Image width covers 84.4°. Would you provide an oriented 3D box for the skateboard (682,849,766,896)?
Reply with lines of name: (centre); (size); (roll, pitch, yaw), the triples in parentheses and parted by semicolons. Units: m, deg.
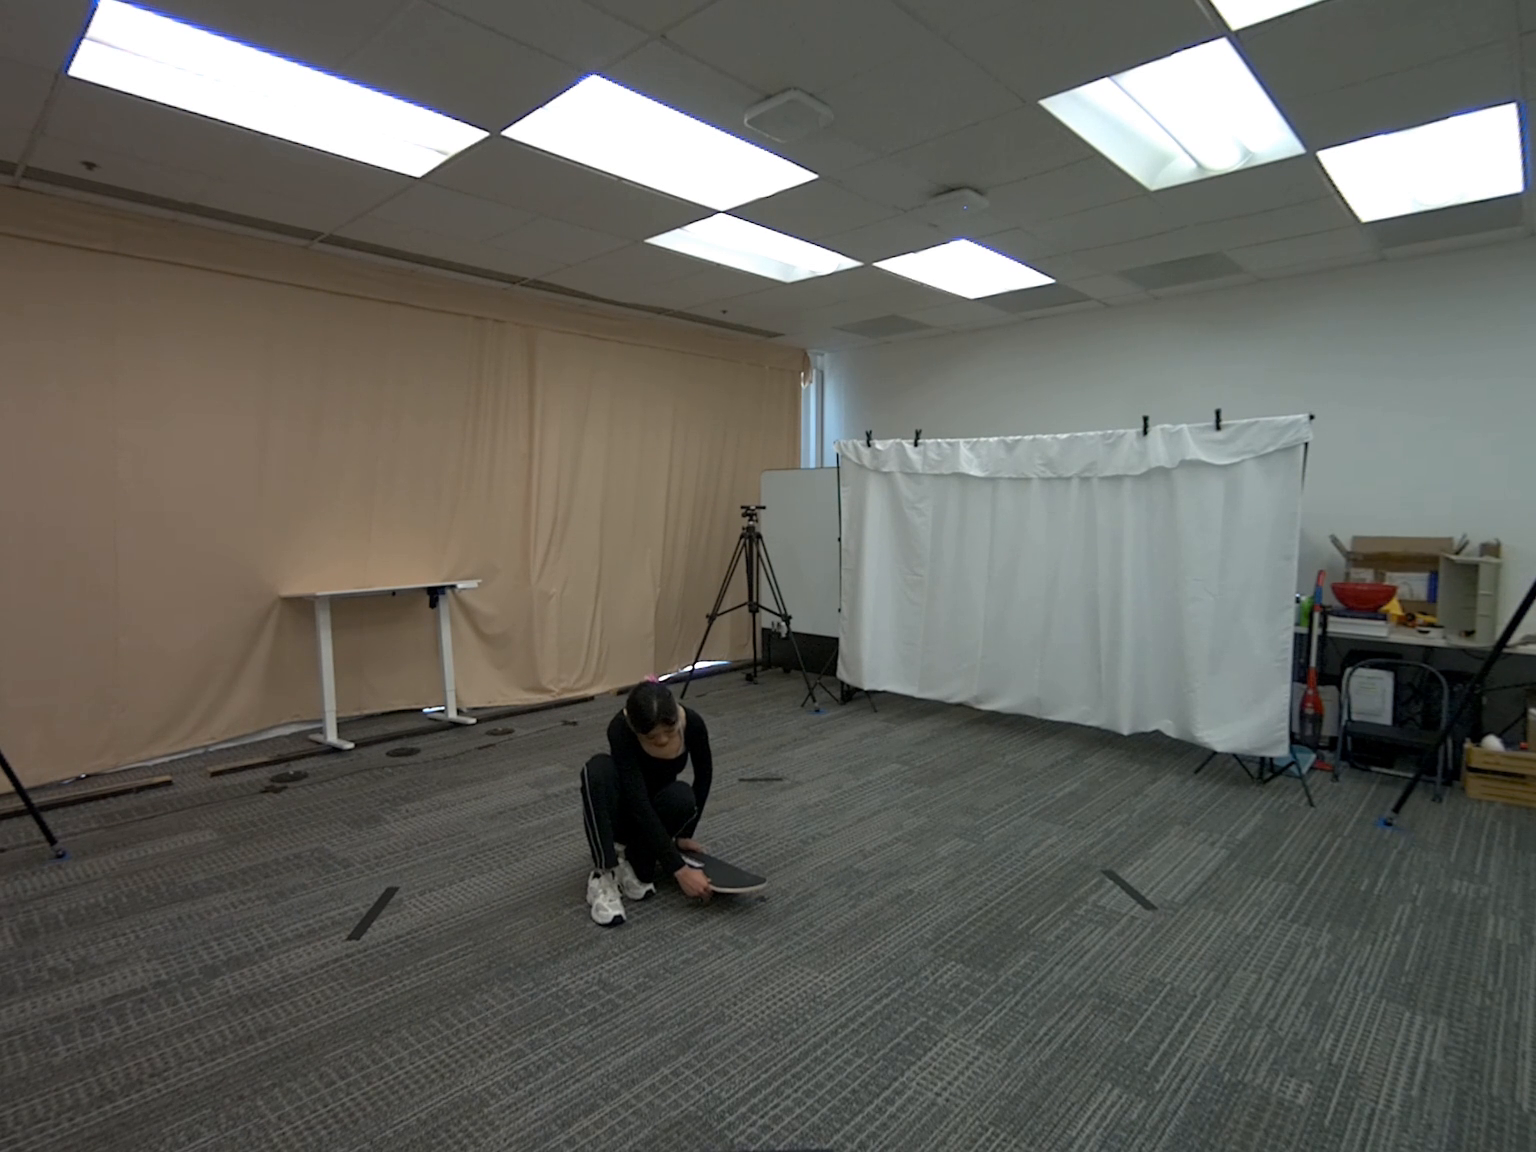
skateboard: (-0.316, 1.076, 3.123); (0.812, 0.110, 0.187); (4, 1, 44)
